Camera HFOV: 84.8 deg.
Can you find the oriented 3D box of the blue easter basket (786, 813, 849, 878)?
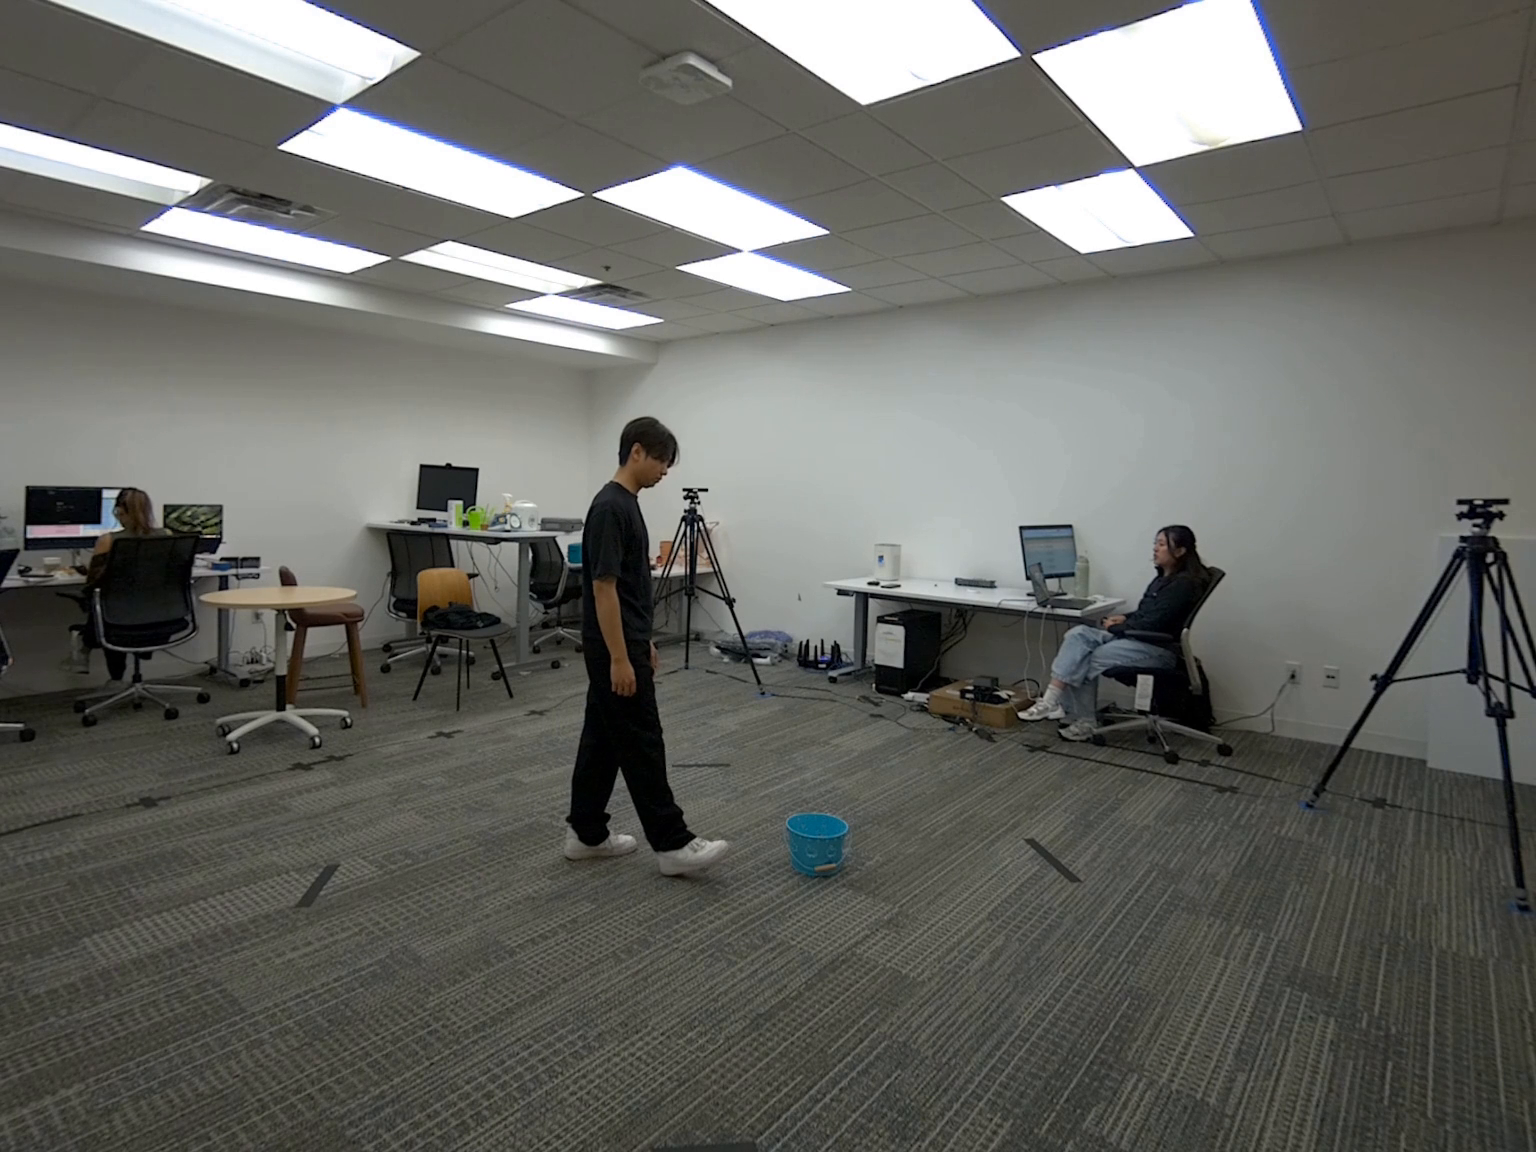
[{"bbox_3d":[0.179,0.998,3.166,0.243,0.155,0.245,1,5,-2],"label":"blue easter basket"}]
